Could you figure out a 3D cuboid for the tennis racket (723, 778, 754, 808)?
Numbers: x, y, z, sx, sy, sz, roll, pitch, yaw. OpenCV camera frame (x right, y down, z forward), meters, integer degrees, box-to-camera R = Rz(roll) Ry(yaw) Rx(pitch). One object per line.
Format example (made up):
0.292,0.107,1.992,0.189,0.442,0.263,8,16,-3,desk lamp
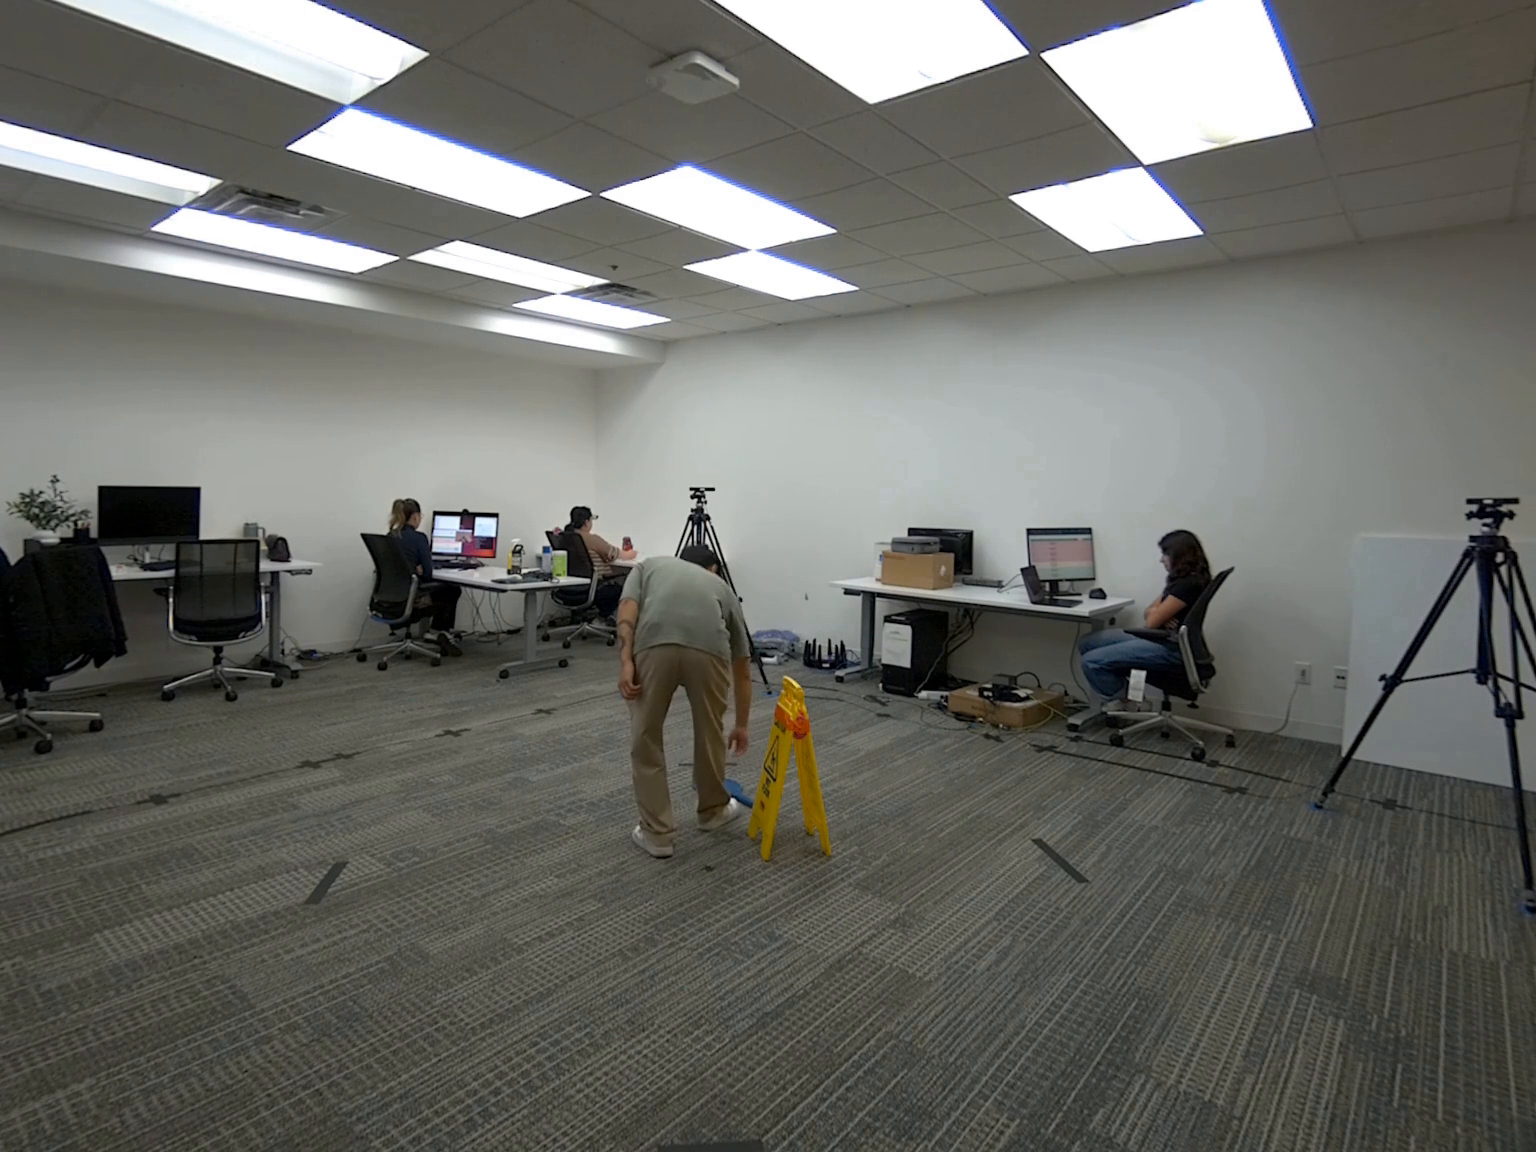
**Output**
-0.196,0.974,3.882,0.207,0.032,0.447,-1,5,-36,tennis racket
